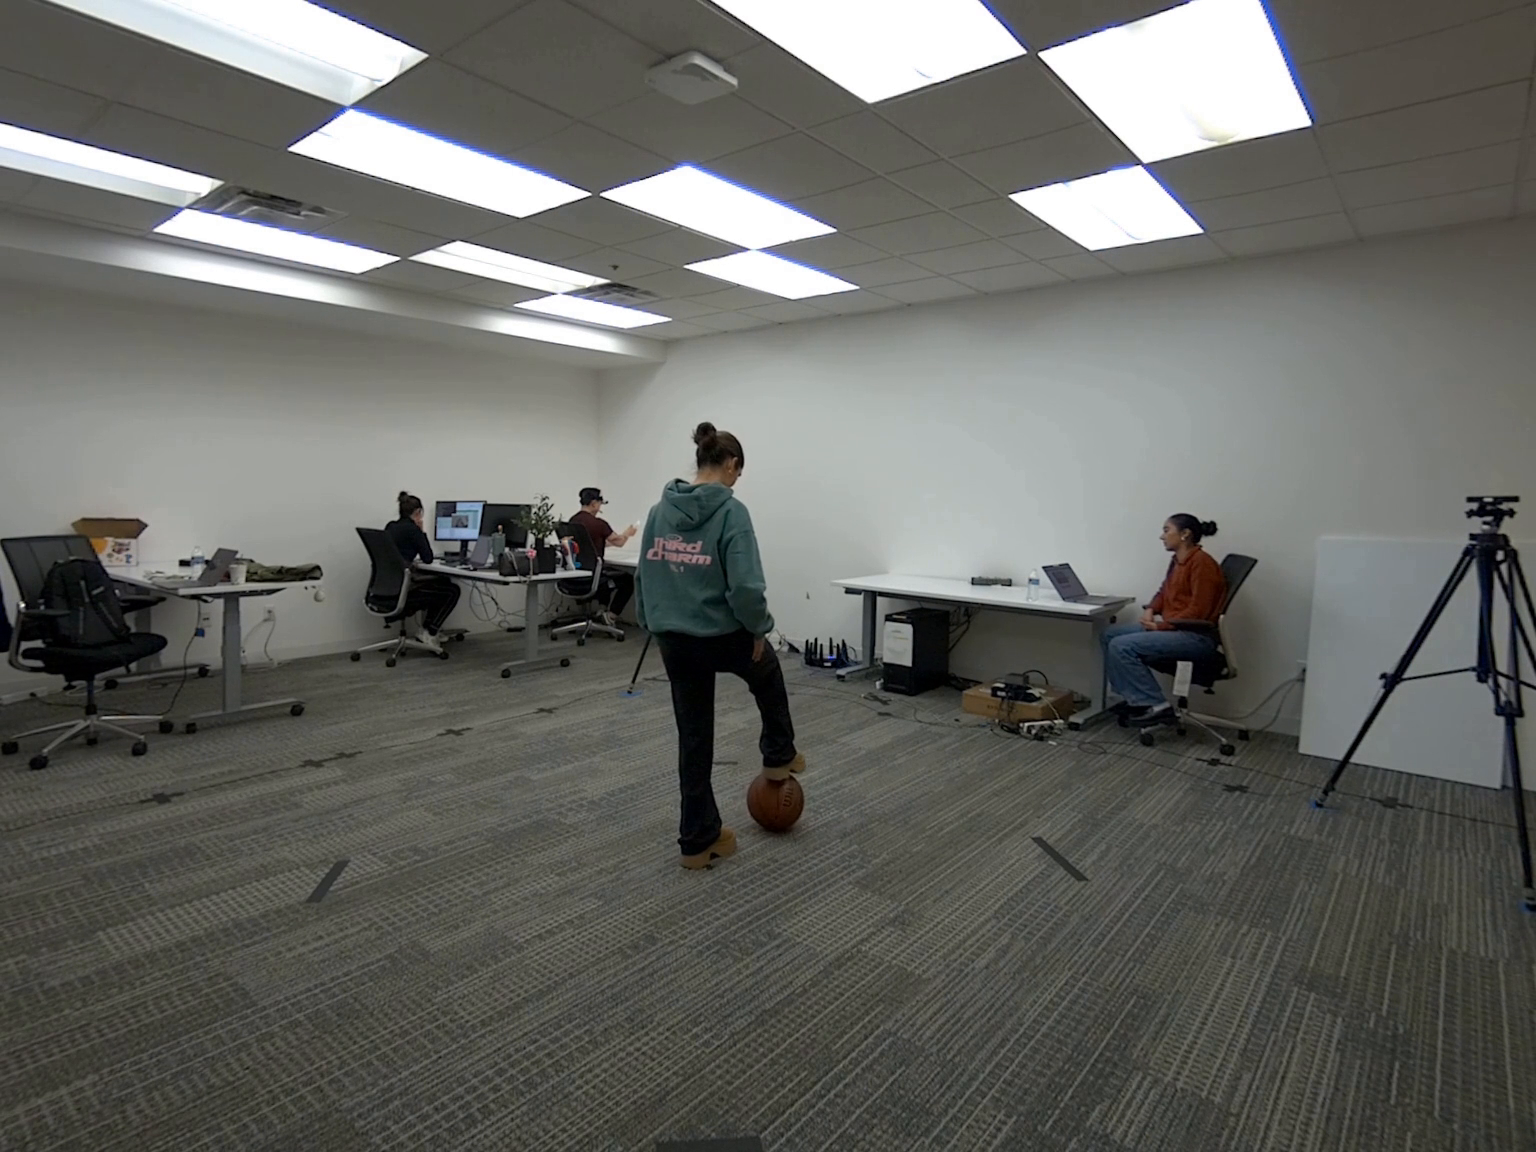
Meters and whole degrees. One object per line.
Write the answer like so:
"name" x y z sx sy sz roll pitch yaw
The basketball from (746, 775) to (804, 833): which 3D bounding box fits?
"basketball" 0.017 0.915 3.486 0.236 0.235 0.237 1 4 -2
